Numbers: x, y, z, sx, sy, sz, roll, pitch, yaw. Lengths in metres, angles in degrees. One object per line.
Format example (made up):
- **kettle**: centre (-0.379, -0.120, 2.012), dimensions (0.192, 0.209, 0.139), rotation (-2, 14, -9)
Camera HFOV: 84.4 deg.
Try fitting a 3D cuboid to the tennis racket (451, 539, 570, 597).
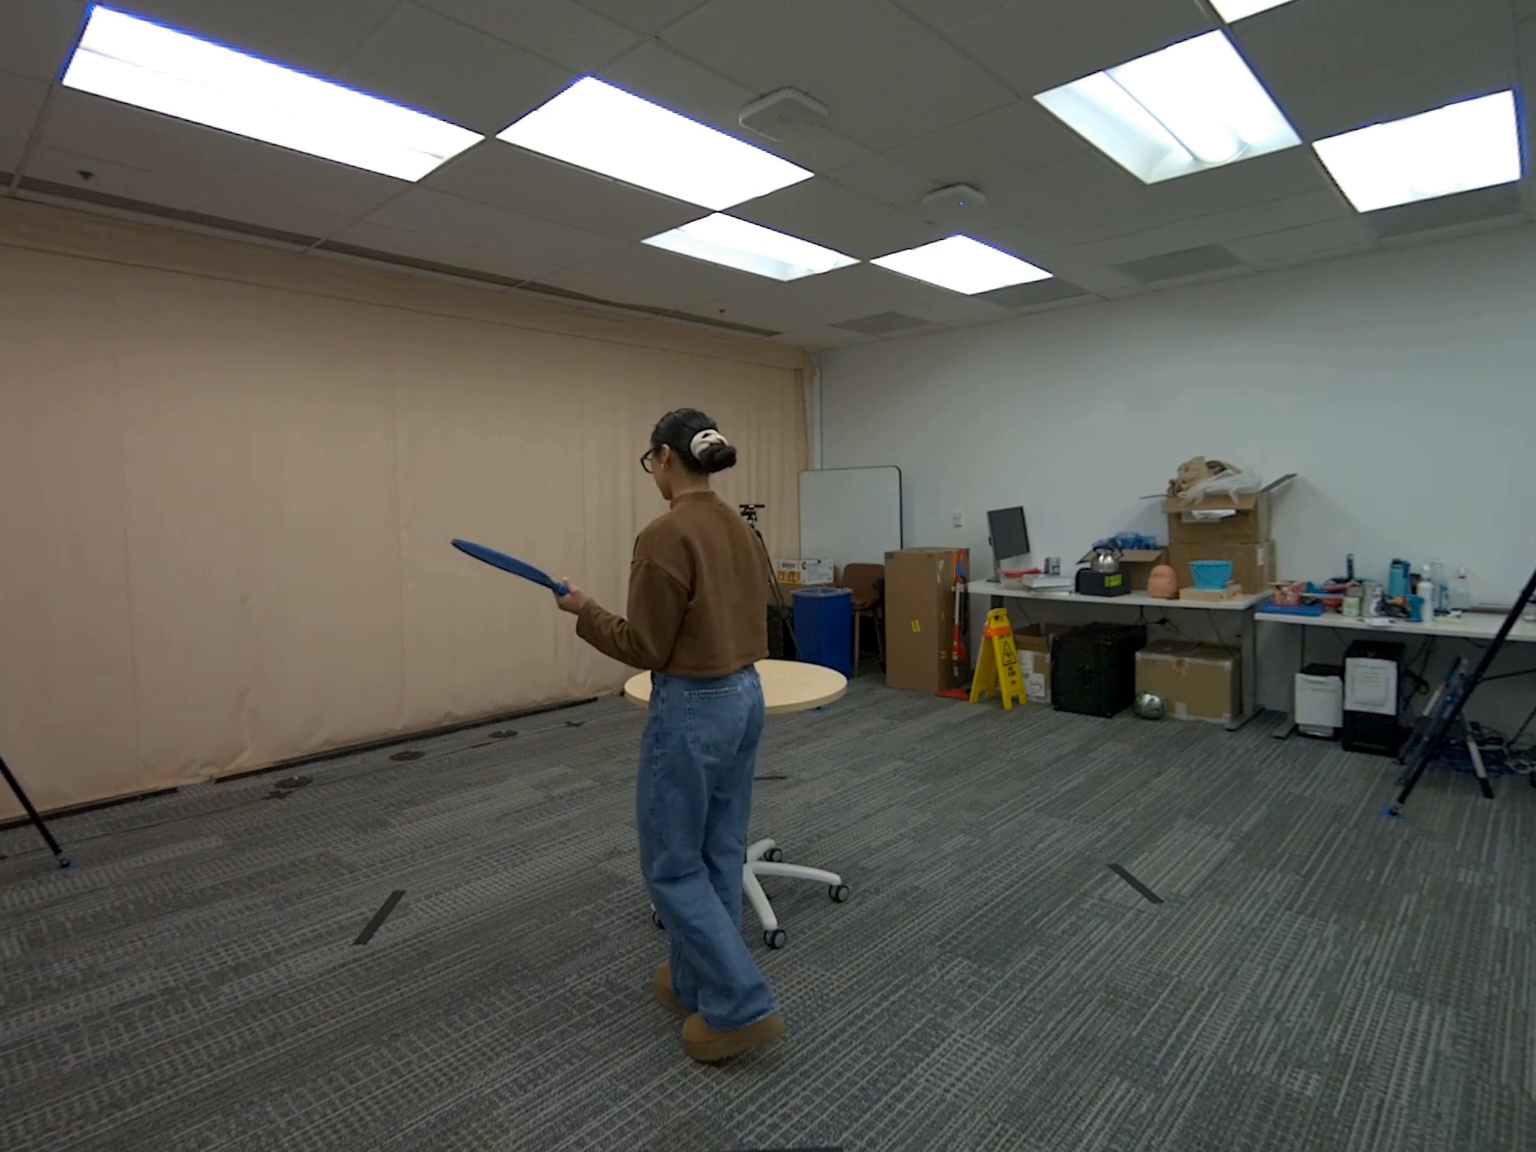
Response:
- **tennis racket**: centre (-0.582, -0.002, 2.108), dimensions (0.221, 0.032, 0.417), rotation (6, -20, 44)
